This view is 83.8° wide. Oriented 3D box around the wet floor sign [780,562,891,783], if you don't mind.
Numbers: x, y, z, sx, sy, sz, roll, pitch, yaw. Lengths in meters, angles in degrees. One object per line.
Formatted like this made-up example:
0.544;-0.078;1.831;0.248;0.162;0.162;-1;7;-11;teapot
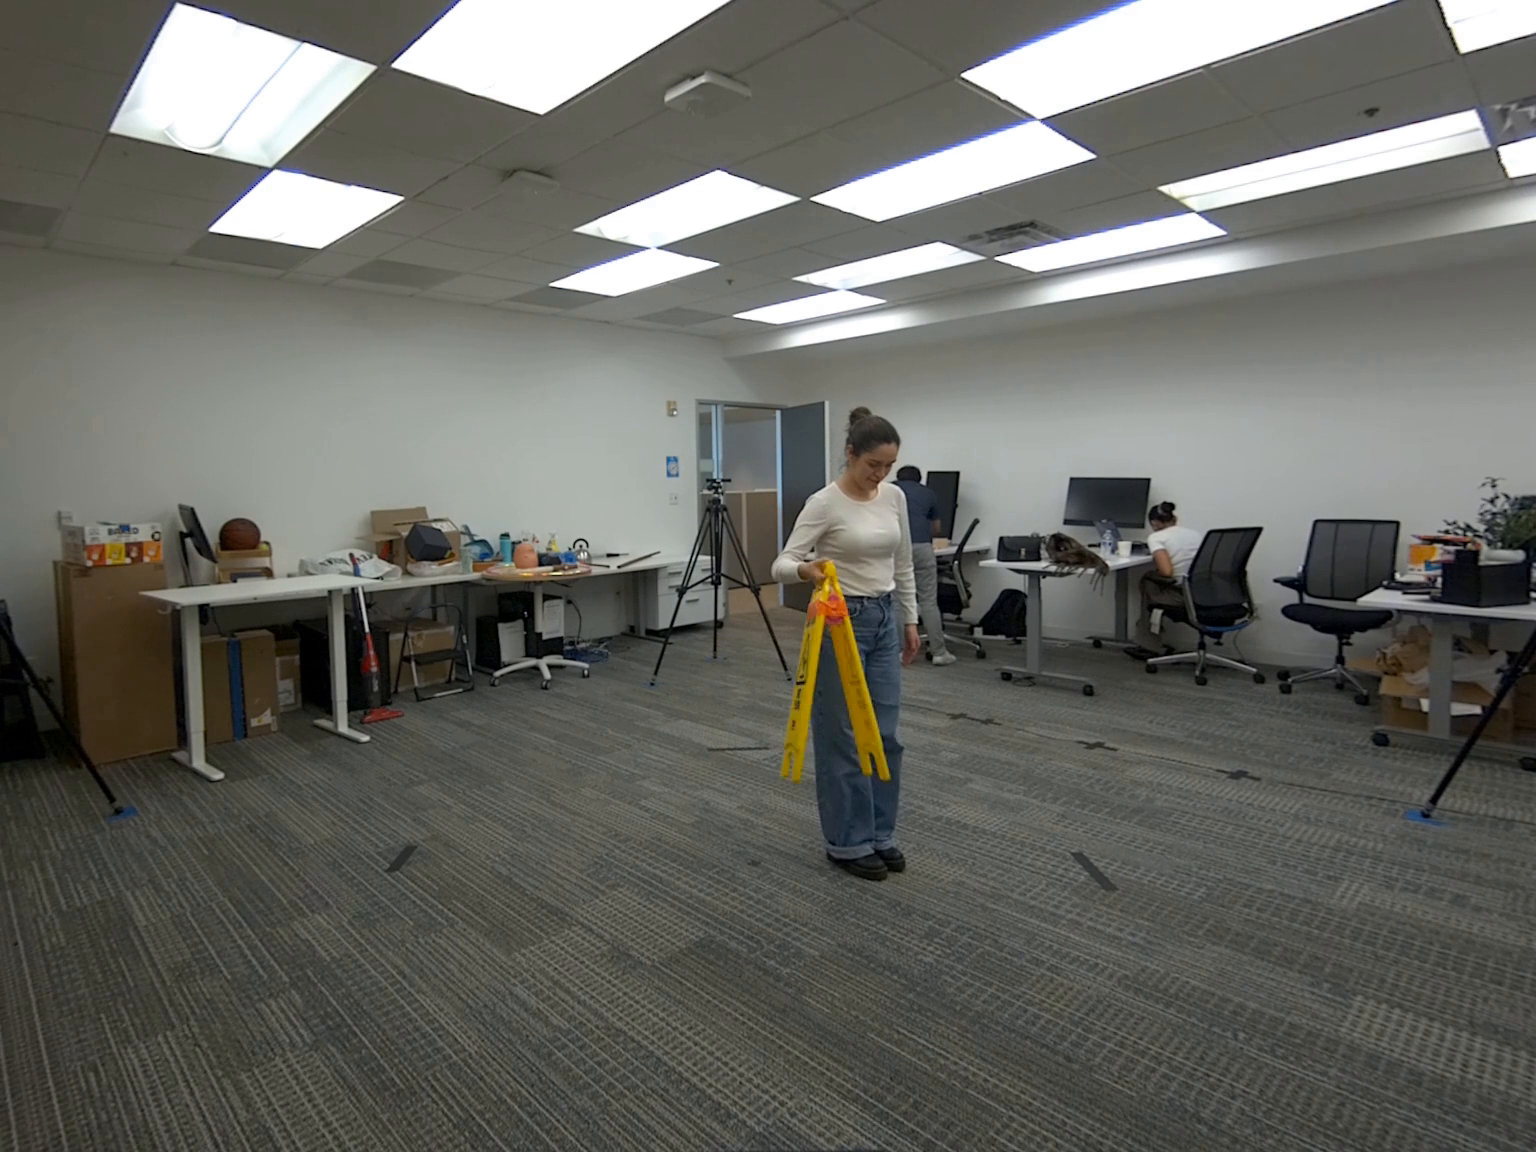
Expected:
0.186;0.282;2.645;0.288;0.654;0.280;-1;-13;-6;wet floor sign
